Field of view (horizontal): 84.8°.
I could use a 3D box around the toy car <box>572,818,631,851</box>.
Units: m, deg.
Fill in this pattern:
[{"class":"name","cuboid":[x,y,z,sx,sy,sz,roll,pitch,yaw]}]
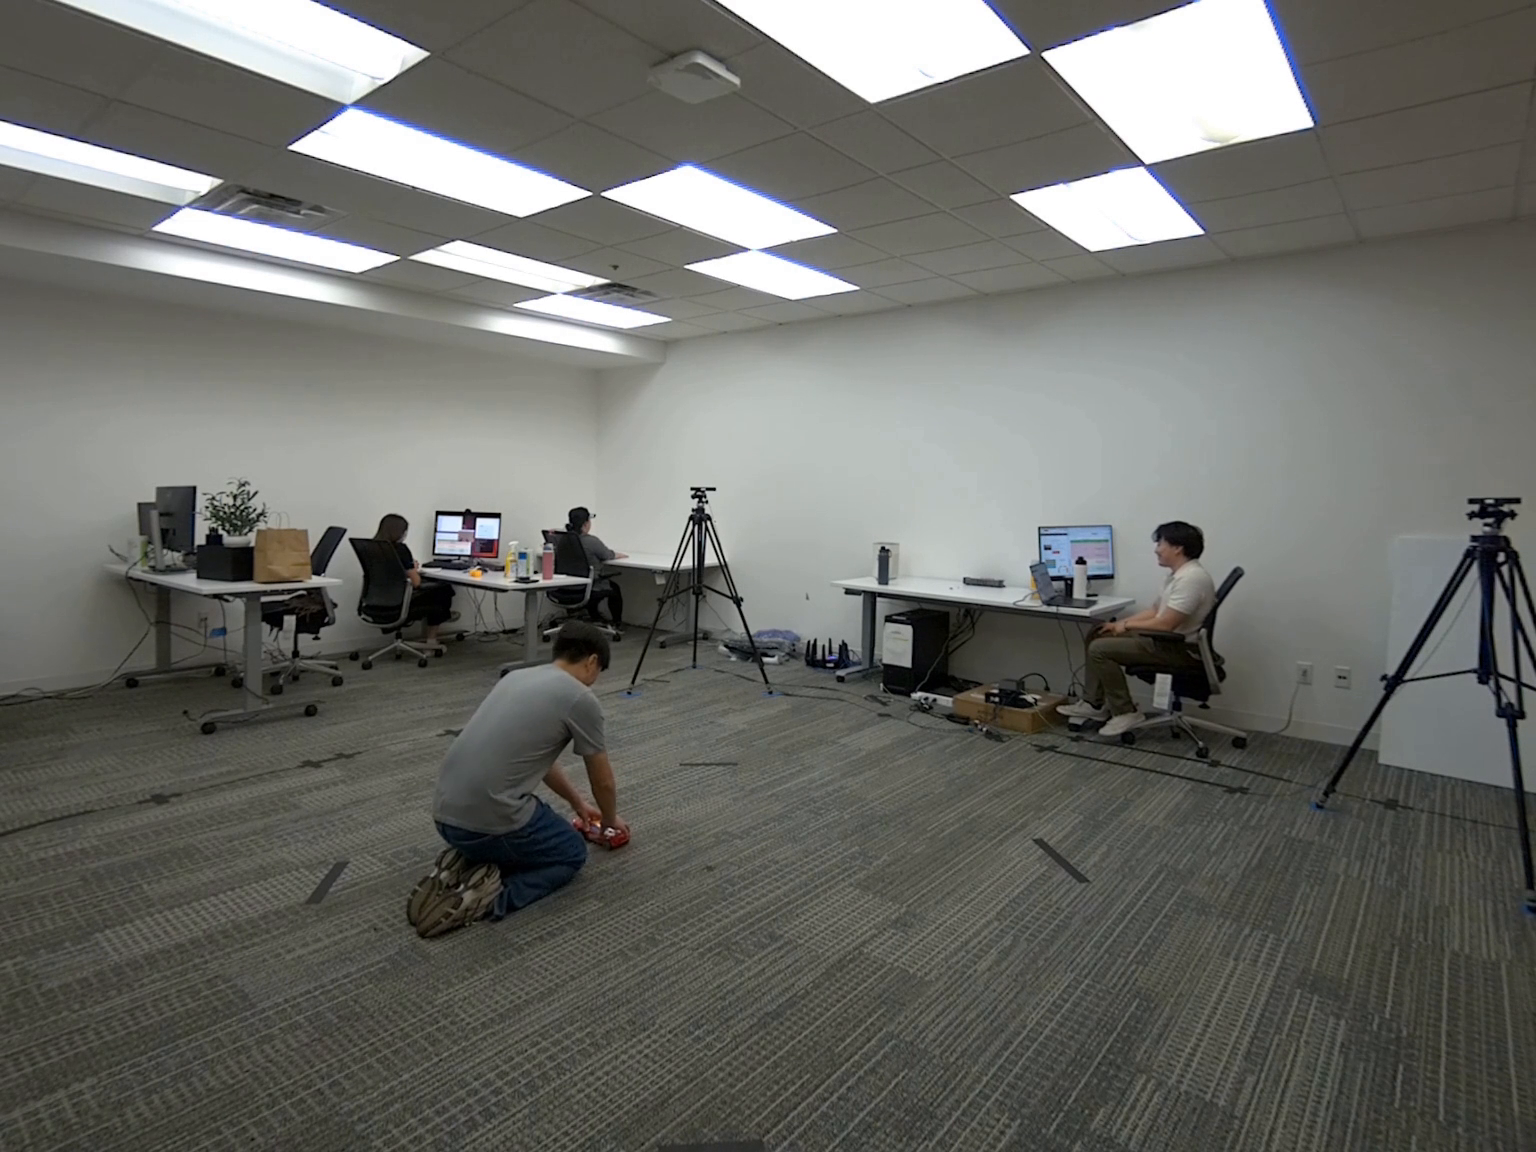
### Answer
[{"class":"toy car","cuboid":[-0.676,1.004,3.349,0.264,0.082,0.126,17,12,34]}]
